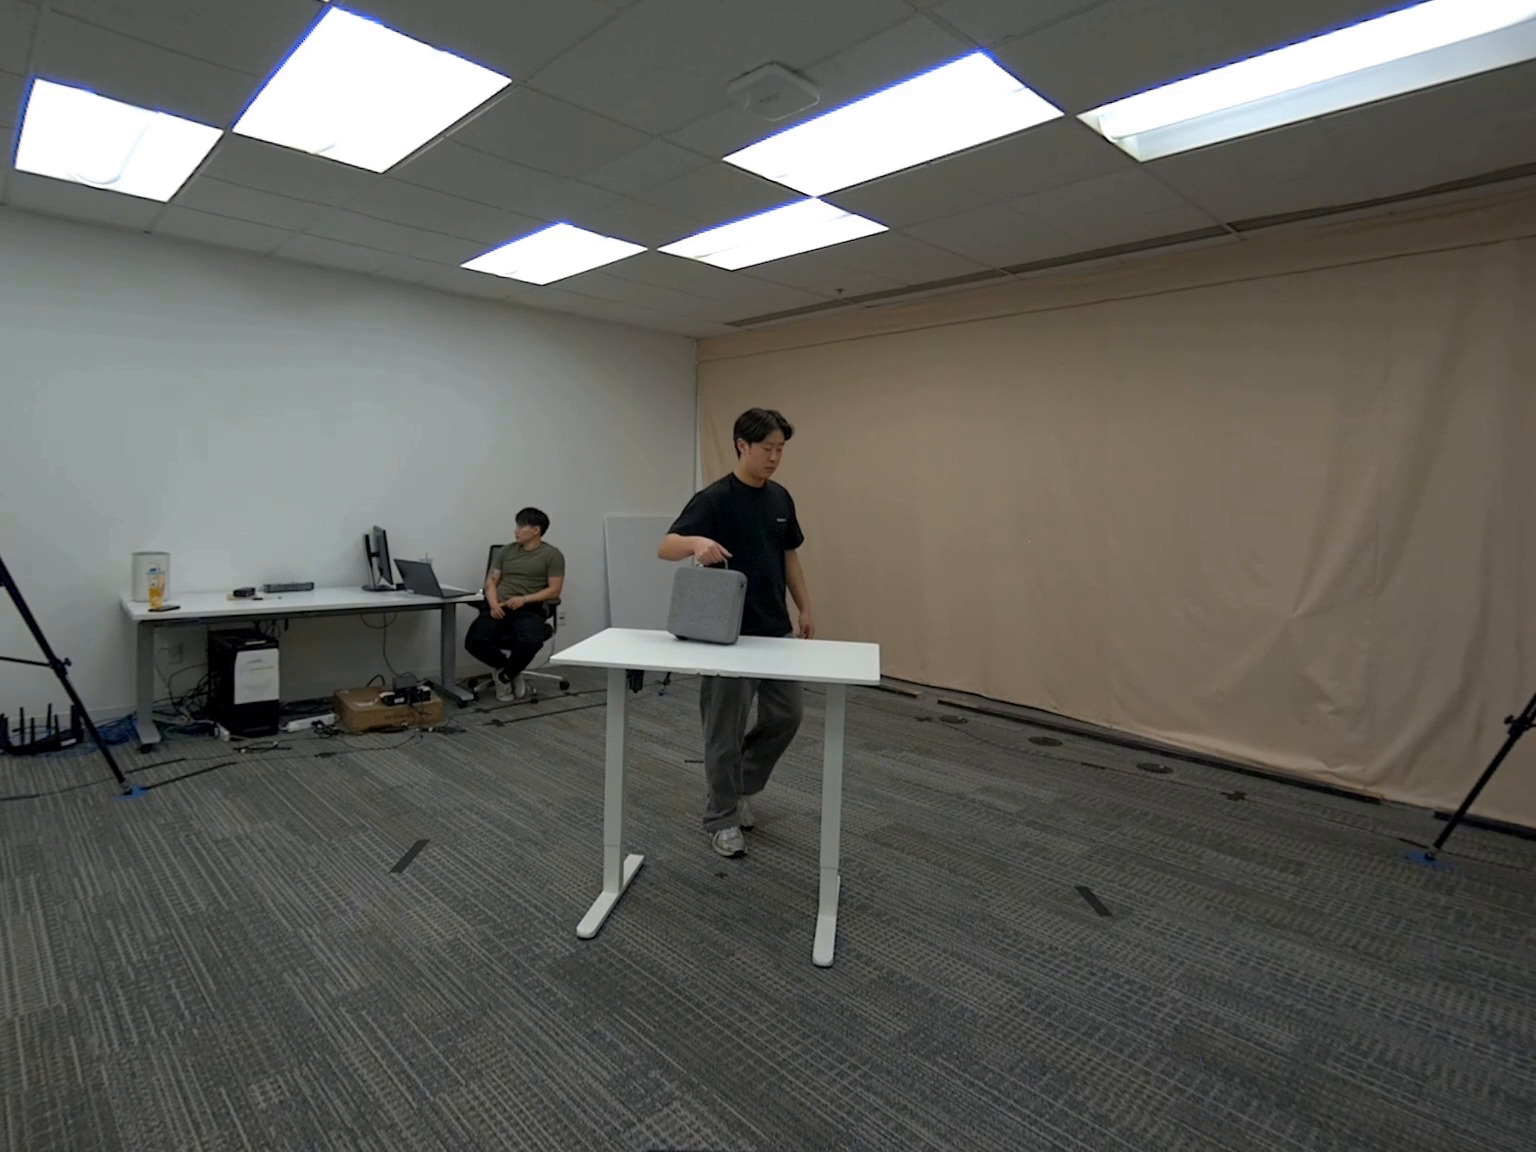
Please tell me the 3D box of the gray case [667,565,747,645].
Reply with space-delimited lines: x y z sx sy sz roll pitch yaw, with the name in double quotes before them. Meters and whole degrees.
"gray case" -0.217 0.091 2.951 0.268 0.288 0.101 6 -7 21
